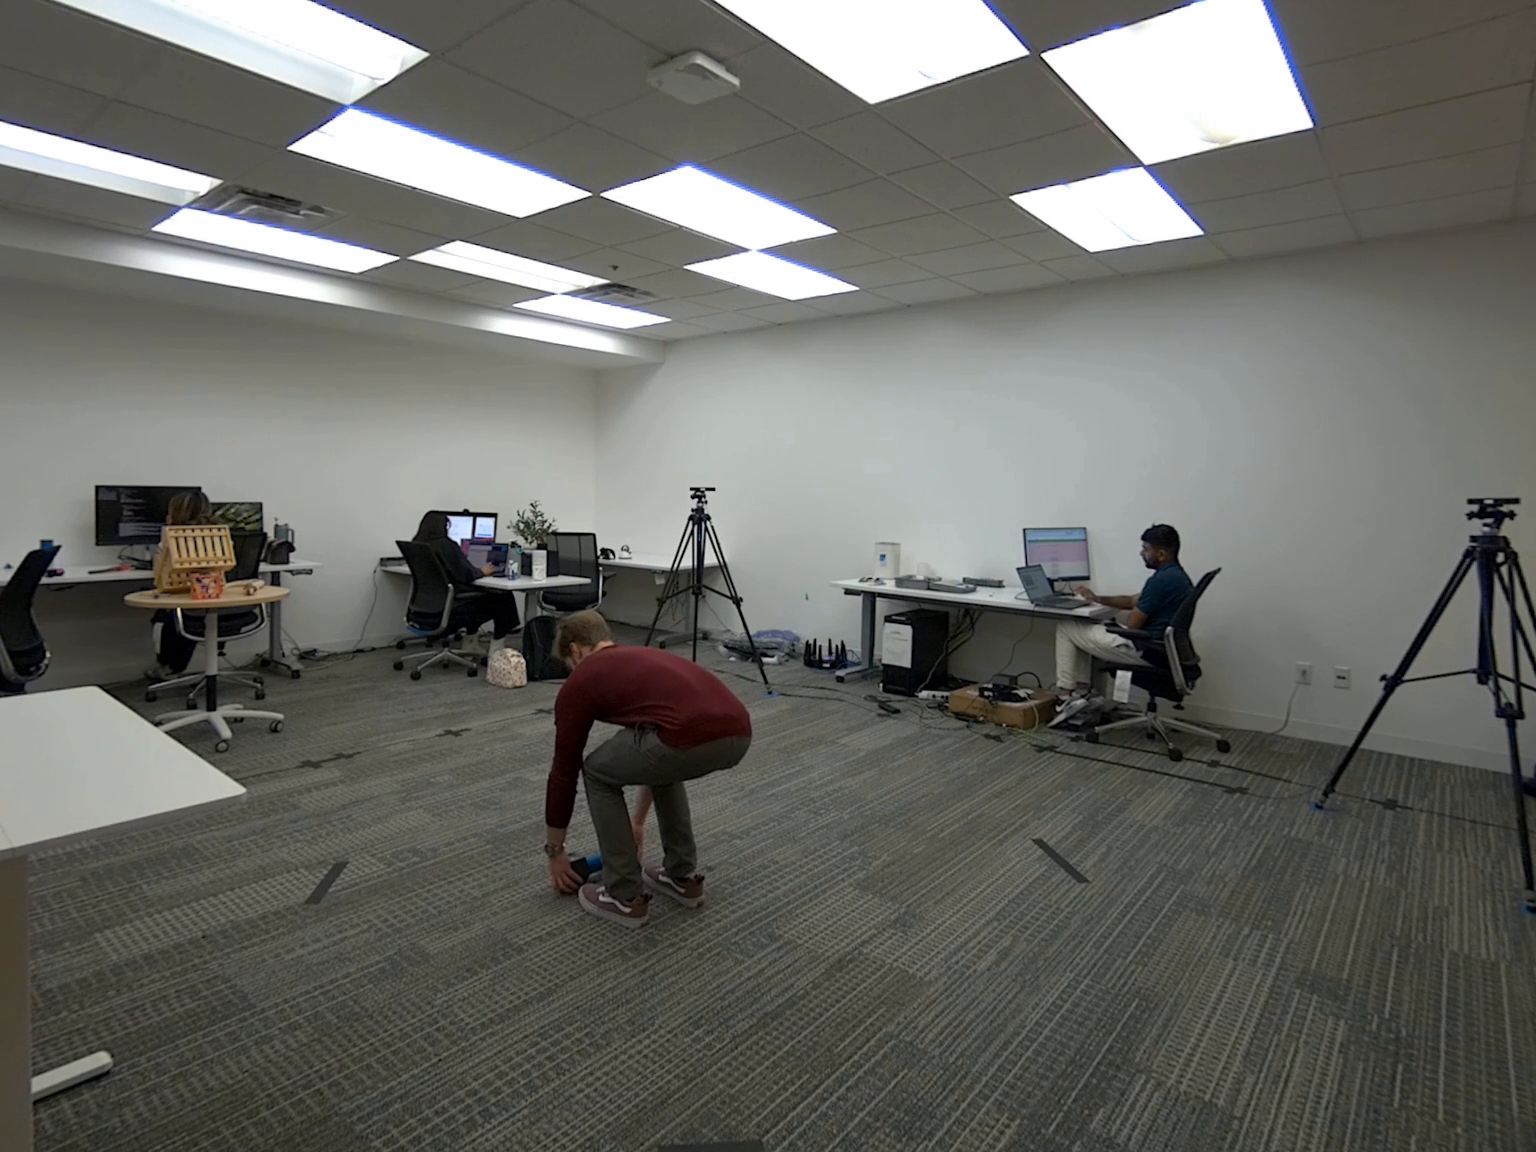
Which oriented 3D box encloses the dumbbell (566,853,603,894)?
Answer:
[{"bbox_3d":[-0.607,1.012,3.016,0.285,0.126,0.109,-4,-25,-45],"label":"dumbbell"}]
